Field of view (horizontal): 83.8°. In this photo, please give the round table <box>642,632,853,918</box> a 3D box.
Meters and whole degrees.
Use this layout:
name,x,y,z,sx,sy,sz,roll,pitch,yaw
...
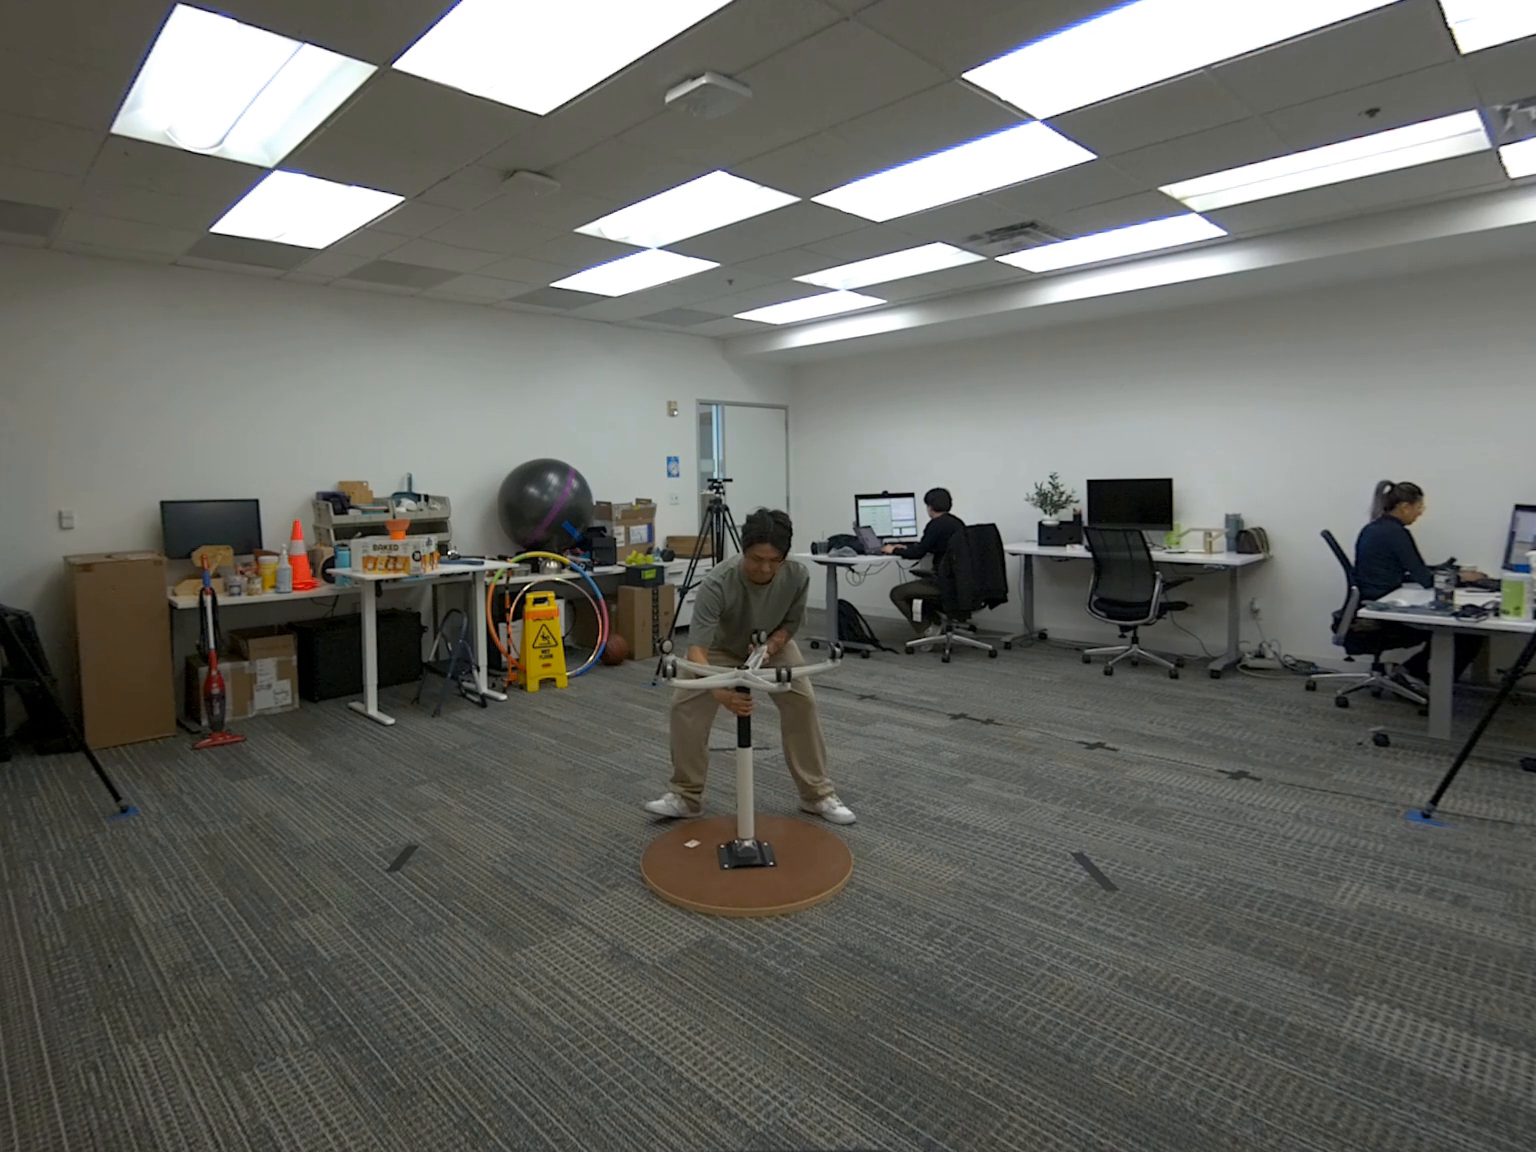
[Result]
name,x,y,z,sx,sy,sz,roll,pitch,yaw
round table,-0.095,0.646,3.076,0.784,0.783,0.789,-1,5,-2
